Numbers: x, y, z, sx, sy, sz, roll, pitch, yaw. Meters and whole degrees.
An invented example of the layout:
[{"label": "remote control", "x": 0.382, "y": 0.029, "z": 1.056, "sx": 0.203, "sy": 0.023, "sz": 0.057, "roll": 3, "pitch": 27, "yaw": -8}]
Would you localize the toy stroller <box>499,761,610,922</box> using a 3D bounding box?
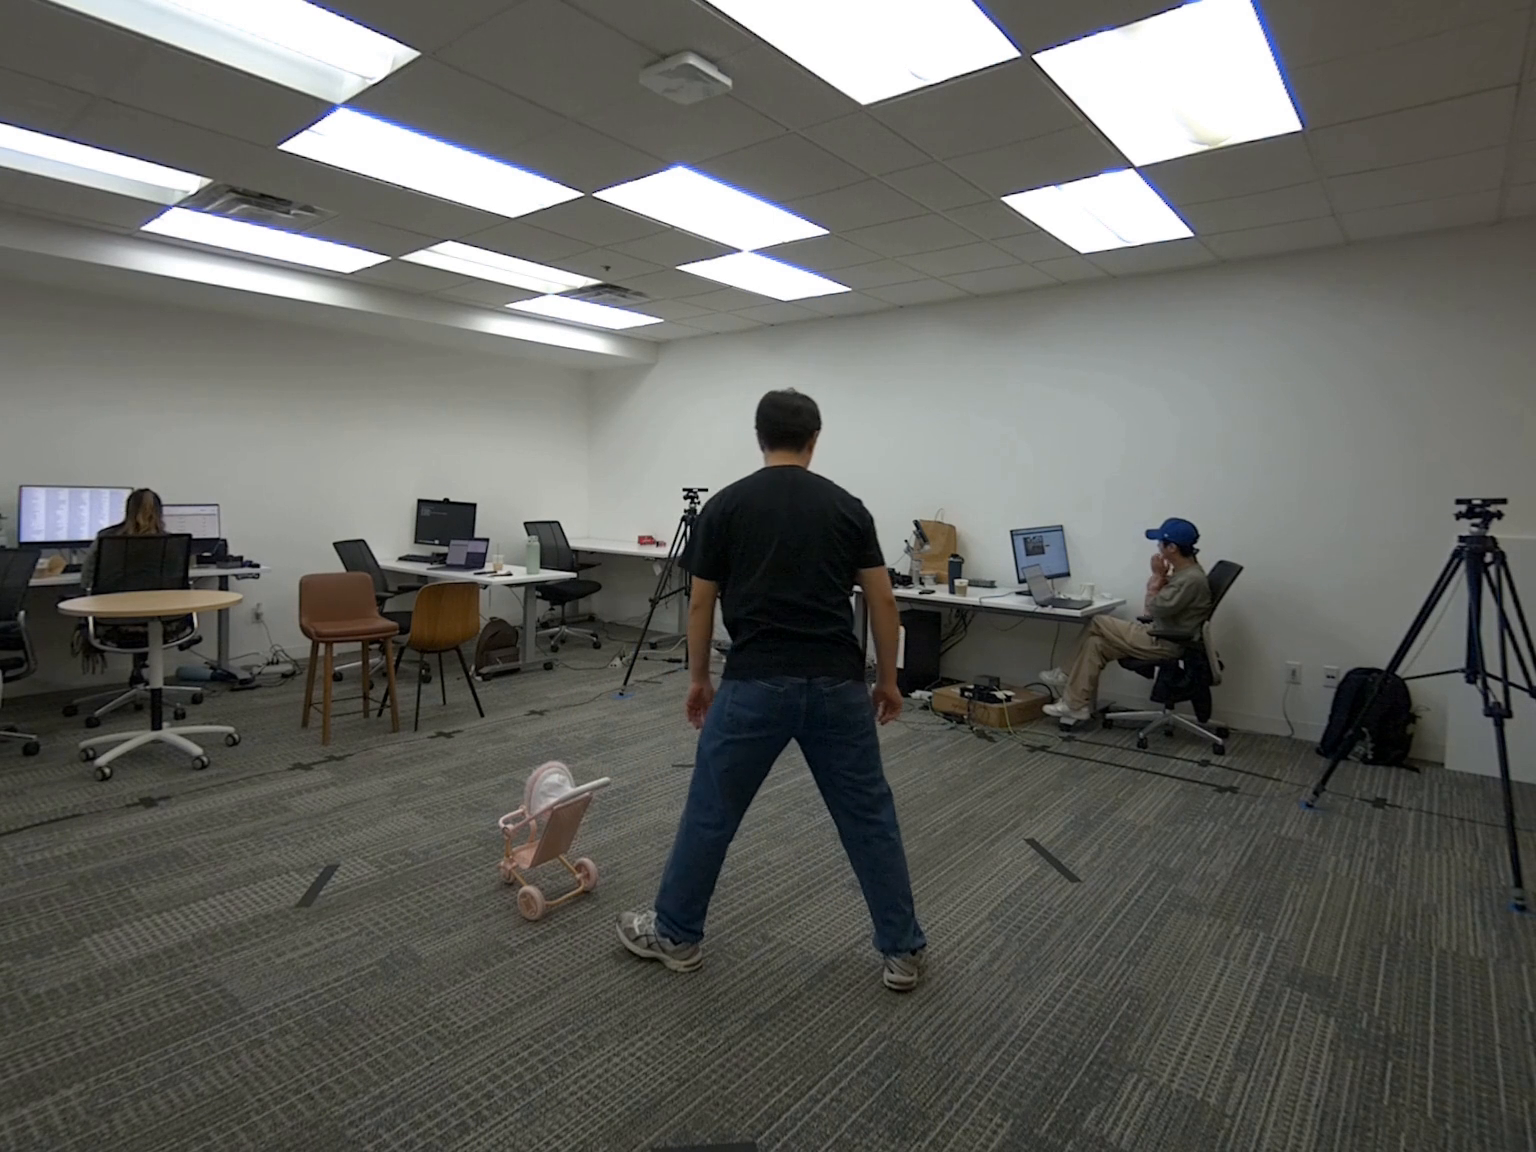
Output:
[{"label": "toy stroller", "x": -0.755, "y": 0.858, "z": 2.857, "sx": 0.355, "sy": 0.530, "sz": 0.273, "roll": 22, "pitch": 15, "yaw": 36}]
